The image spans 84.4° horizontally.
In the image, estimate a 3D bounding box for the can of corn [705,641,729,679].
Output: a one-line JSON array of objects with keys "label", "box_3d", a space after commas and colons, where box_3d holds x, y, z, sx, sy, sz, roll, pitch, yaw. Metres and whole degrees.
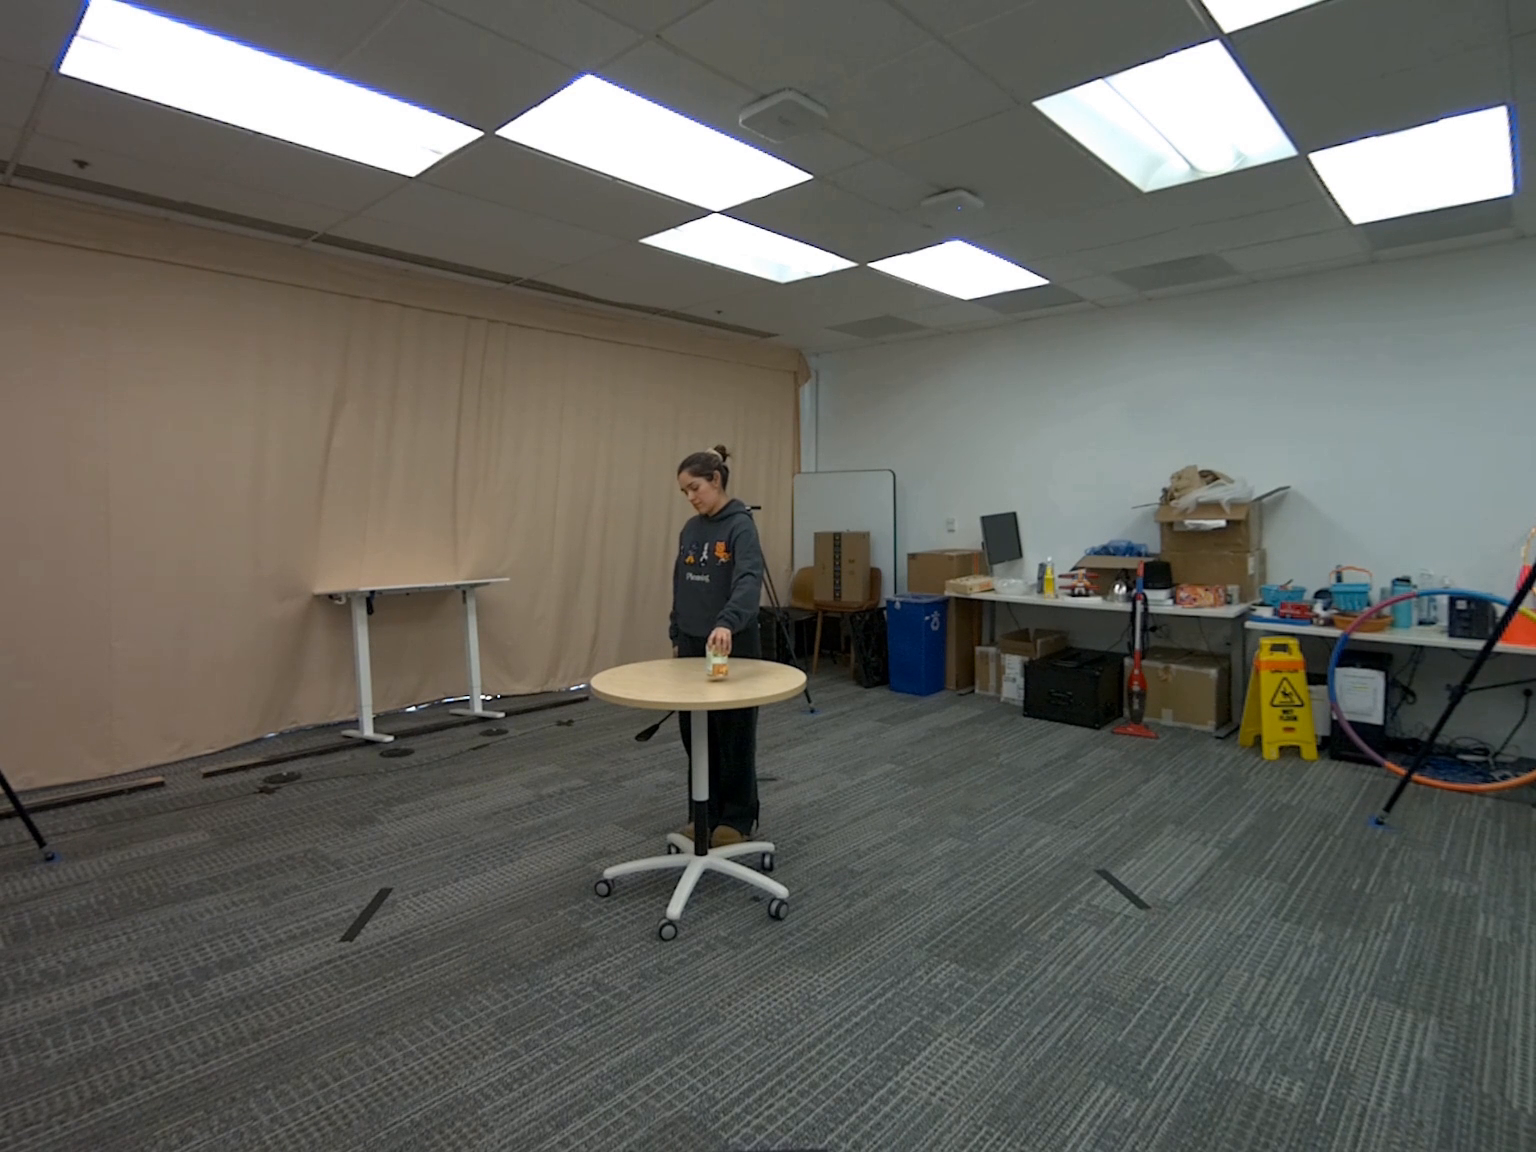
[{"label": "can of corn", "box_3d": [-0.169, 0.292, 2.937, 0.074, 0.111, 0.074, 0, 1, -2]}]
